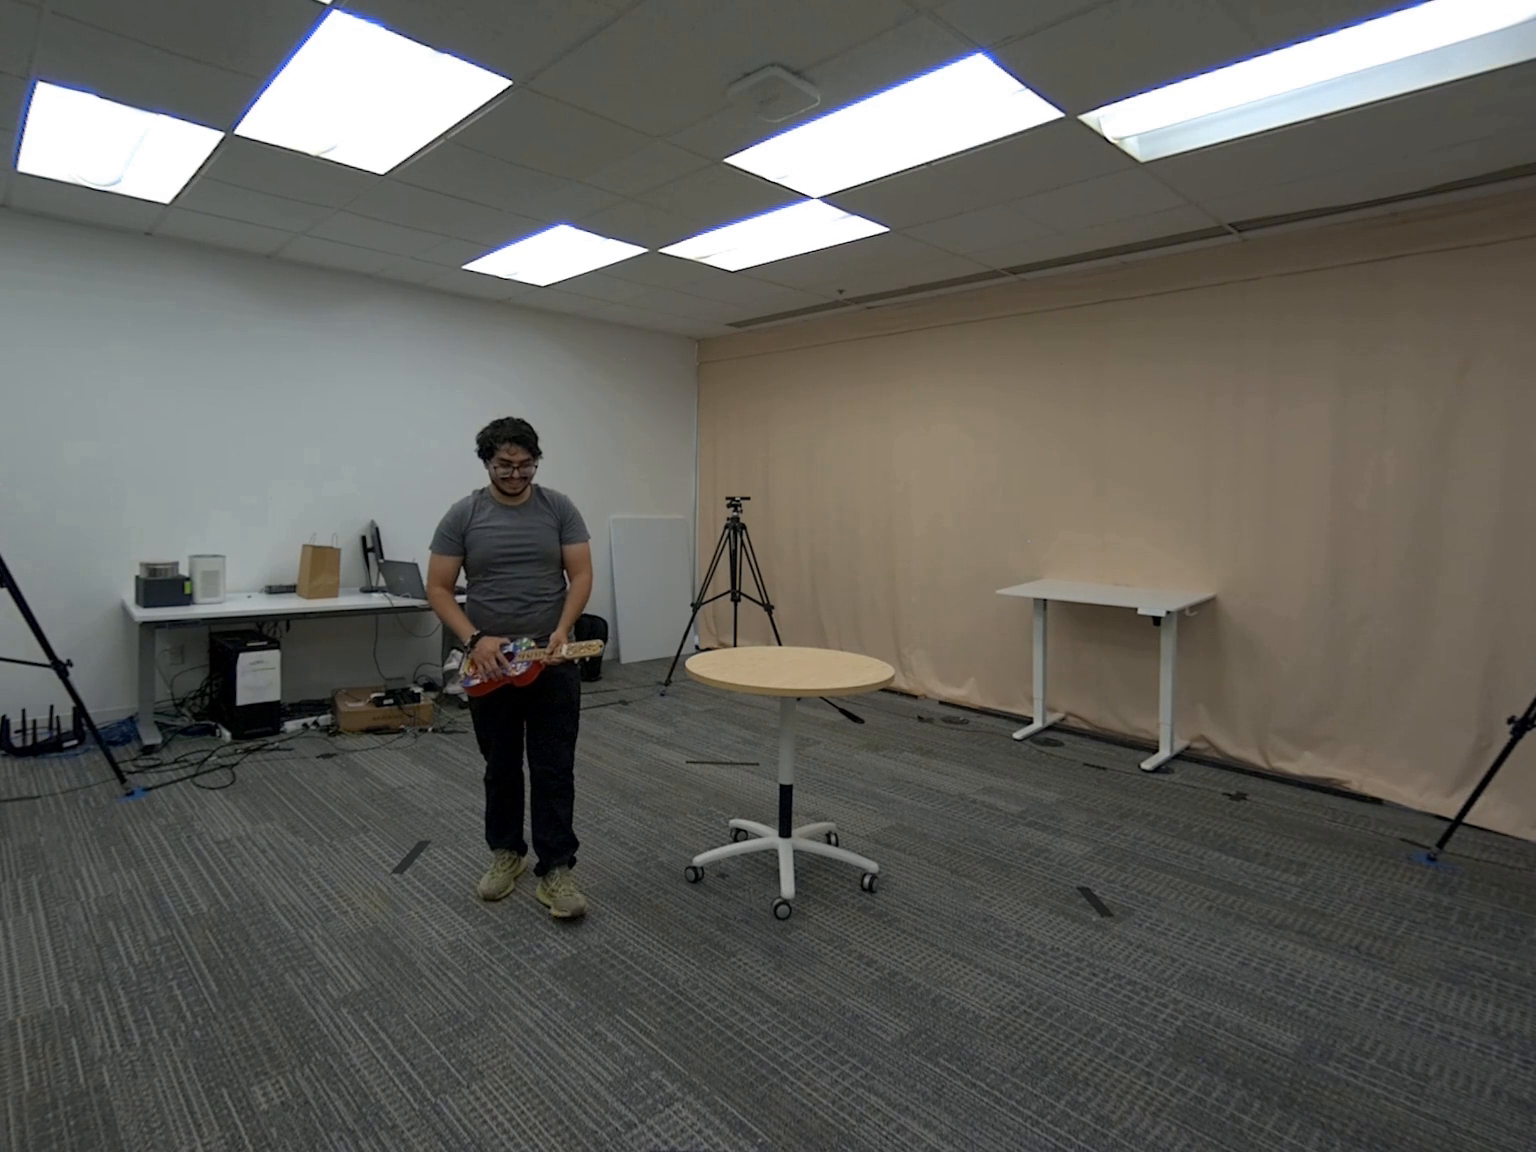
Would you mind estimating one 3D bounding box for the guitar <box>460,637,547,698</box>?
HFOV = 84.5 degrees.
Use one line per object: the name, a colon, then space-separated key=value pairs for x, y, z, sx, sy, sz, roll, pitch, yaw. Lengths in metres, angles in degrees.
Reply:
guitar: x=-0.755 y=0.287 z=2.663 sx=0.505 sy=0.196 sz=0.068 roll=-1 pitch=-40 yaw=19
